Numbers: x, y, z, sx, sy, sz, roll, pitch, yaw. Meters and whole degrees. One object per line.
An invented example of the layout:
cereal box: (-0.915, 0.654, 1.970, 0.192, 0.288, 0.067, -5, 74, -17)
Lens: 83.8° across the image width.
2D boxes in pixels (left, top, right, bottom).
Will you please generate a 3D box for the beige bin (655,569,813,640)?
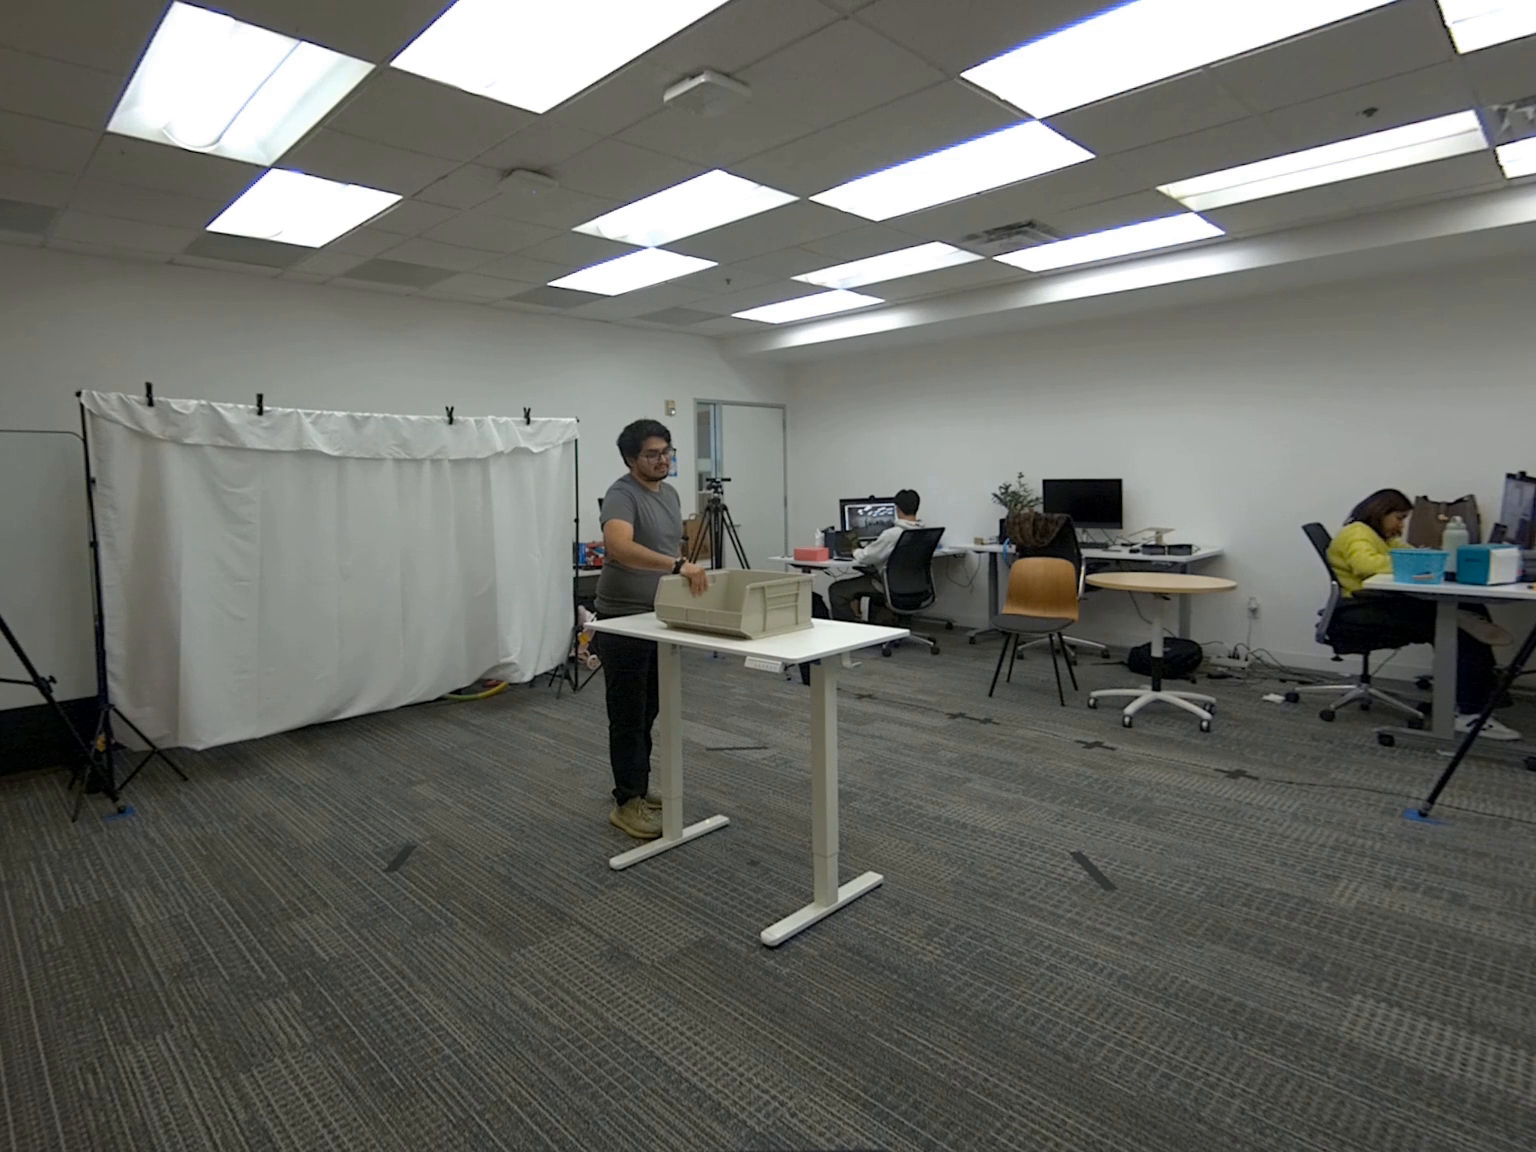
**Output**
beige bin: (-0.111, 0.090, 2.929, 0.435, 0.188, 0.367, 4, 6, 43)
